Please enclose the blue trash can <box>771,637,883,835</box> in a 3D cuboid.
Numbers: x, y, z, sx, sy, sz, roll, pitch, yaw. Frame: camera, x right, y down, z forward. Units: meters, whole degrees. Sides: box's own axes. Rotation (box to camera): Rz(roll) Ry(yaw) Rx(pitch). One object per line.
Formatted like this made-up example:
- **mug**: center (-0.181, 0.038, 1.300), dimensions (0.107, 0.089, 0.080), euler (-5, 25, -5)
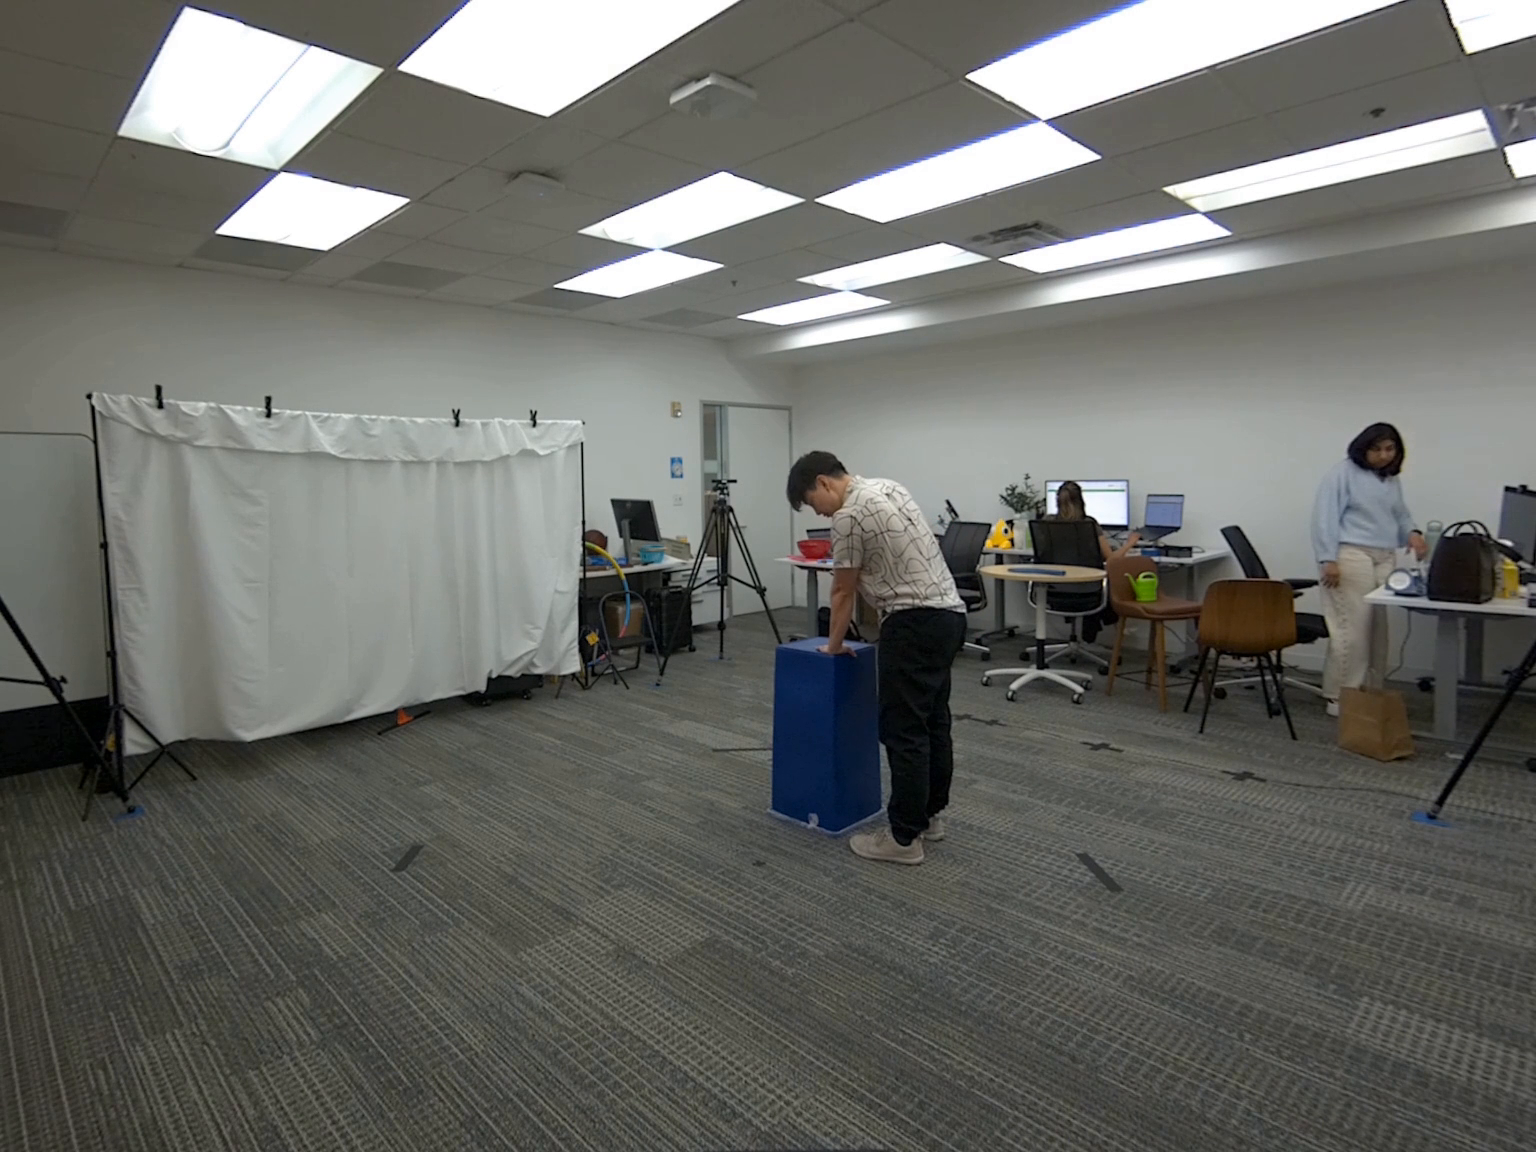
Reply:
- **blue trash can**: center (0.254, 0.640, 3.551), dimensions (0.390, 0.711, 0.364), euler (4, 5, 43)
